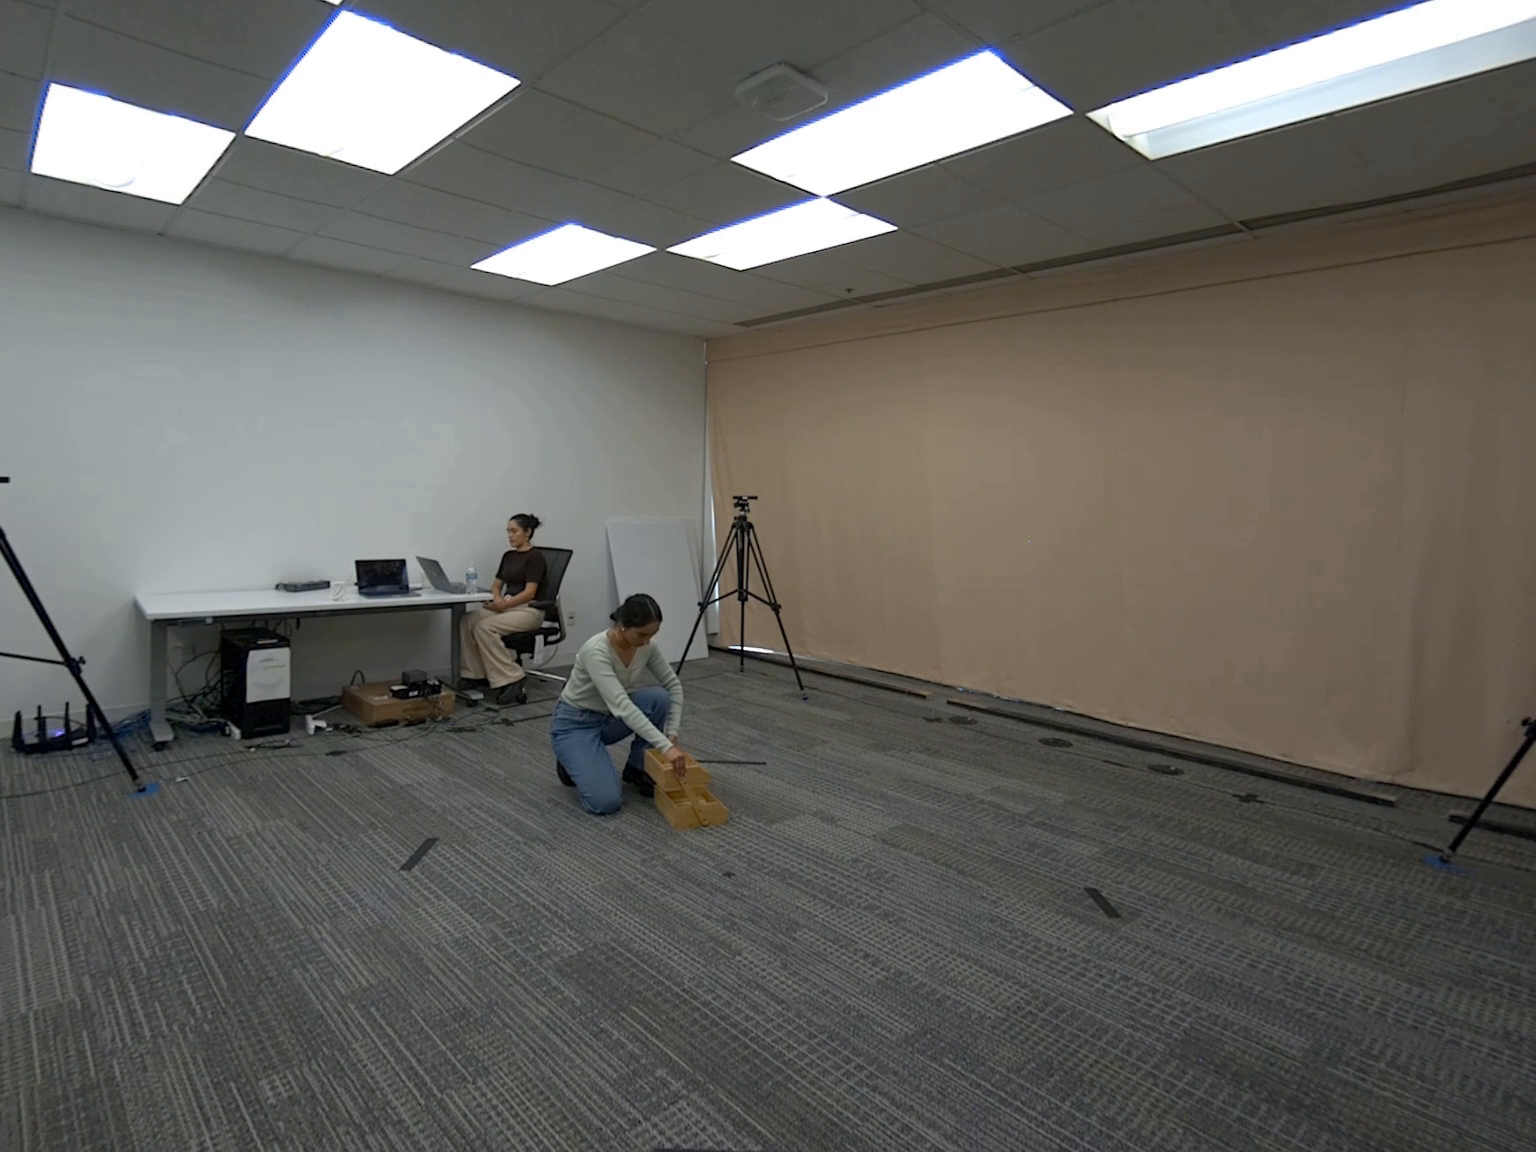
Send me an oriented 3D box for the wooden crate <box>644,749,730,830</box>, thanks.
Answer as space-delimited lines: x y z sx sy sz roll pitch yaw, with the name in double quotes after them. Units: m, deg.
-0.359 0.912 3.689 0.297 0.272 0.331 -1 5 -24 "wooden crate"
